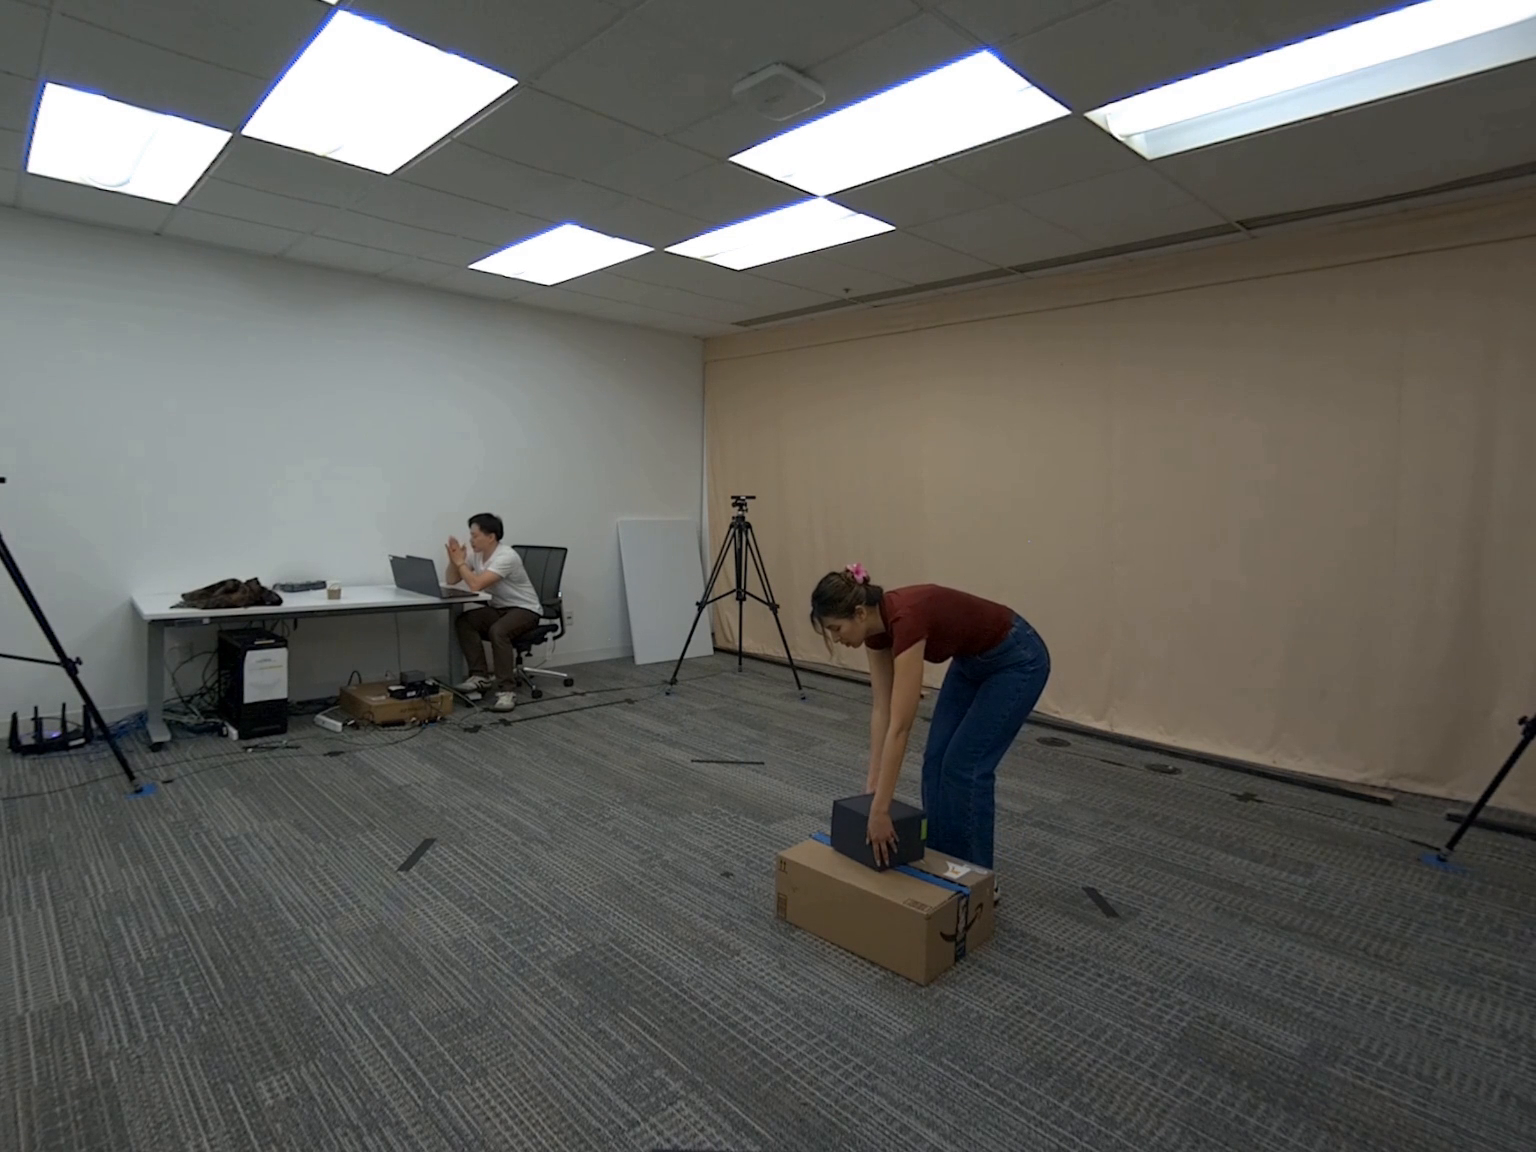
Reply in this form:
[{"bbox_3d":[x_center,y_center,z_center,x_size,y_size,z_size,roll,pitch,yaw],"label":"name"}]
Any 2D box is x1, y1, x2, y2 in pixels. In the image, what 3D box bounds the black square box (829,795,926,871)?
[{"bbox_3d":[0.361,0.840,2.791,0.212,0.156,0.234,2,3,-38],"label":"black square box"}]
